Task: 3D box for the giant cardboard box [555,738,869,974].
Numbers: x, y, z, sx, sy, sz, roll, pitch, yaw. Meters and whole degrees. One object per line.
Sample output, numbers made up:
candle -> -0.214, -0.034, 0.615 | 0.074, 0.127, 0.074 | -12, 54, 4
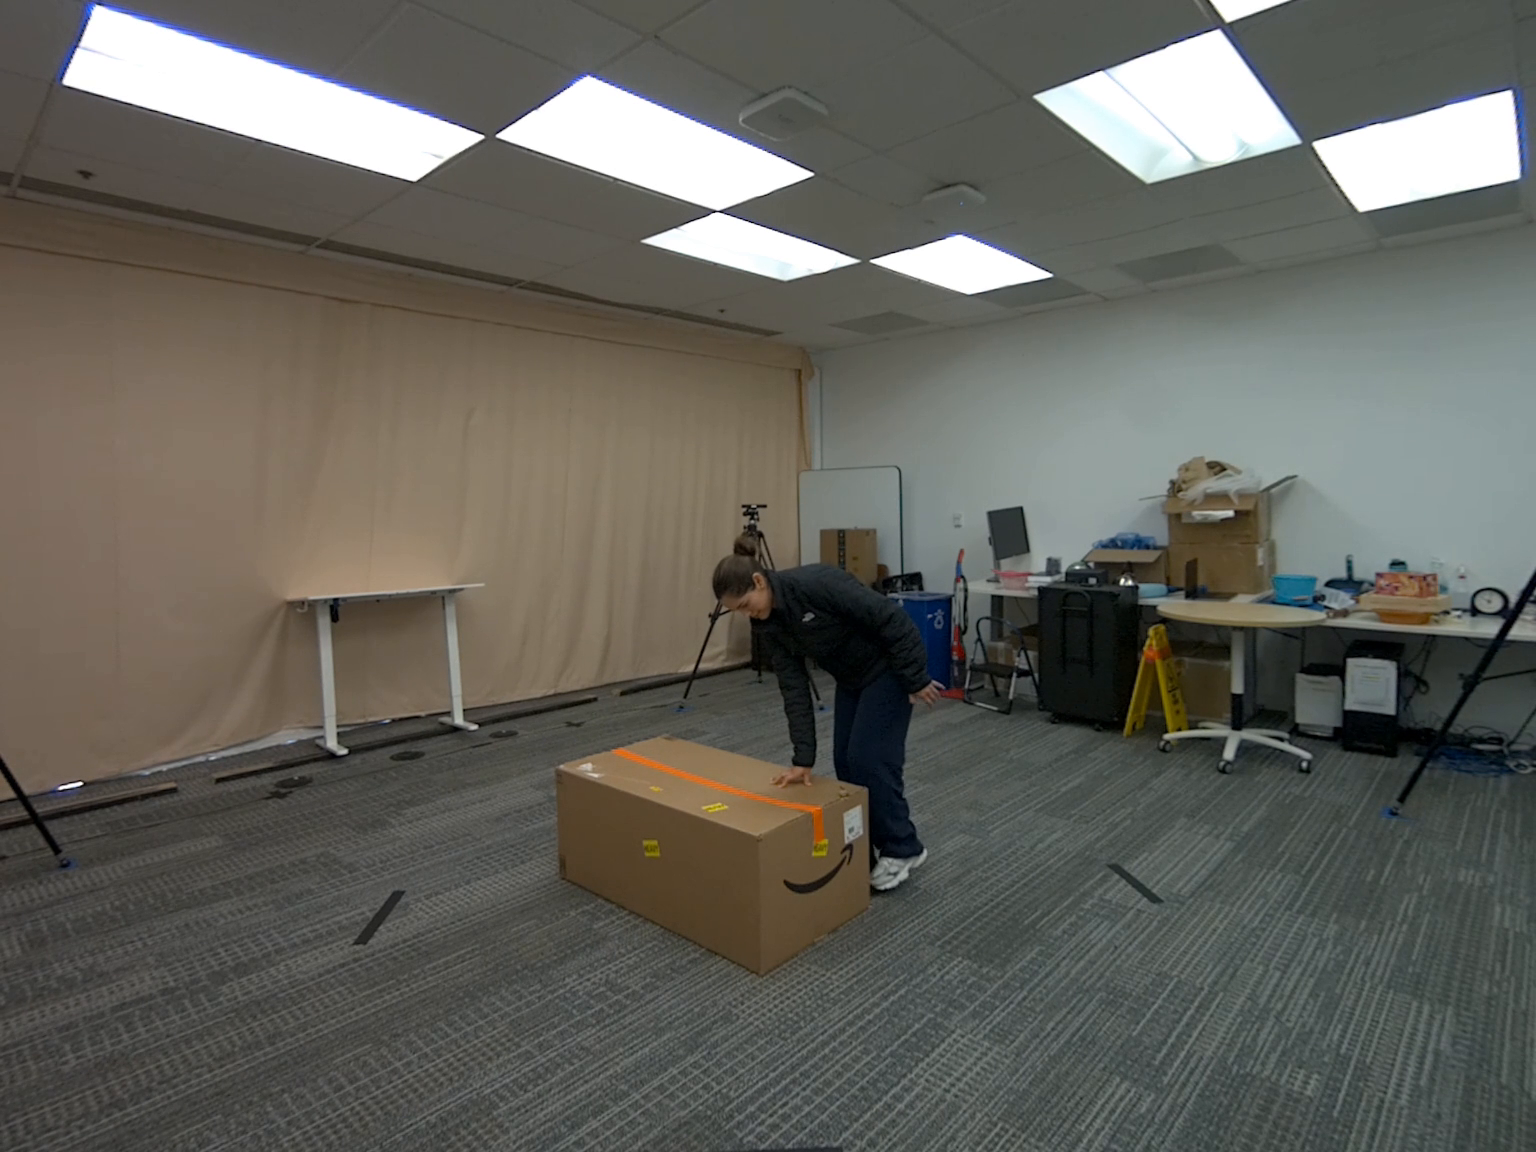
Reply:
giant cardboard box -> -0.213, 0.933, 3.031 | 1.061, 0.446, 0.566 | 2, 4, 42
